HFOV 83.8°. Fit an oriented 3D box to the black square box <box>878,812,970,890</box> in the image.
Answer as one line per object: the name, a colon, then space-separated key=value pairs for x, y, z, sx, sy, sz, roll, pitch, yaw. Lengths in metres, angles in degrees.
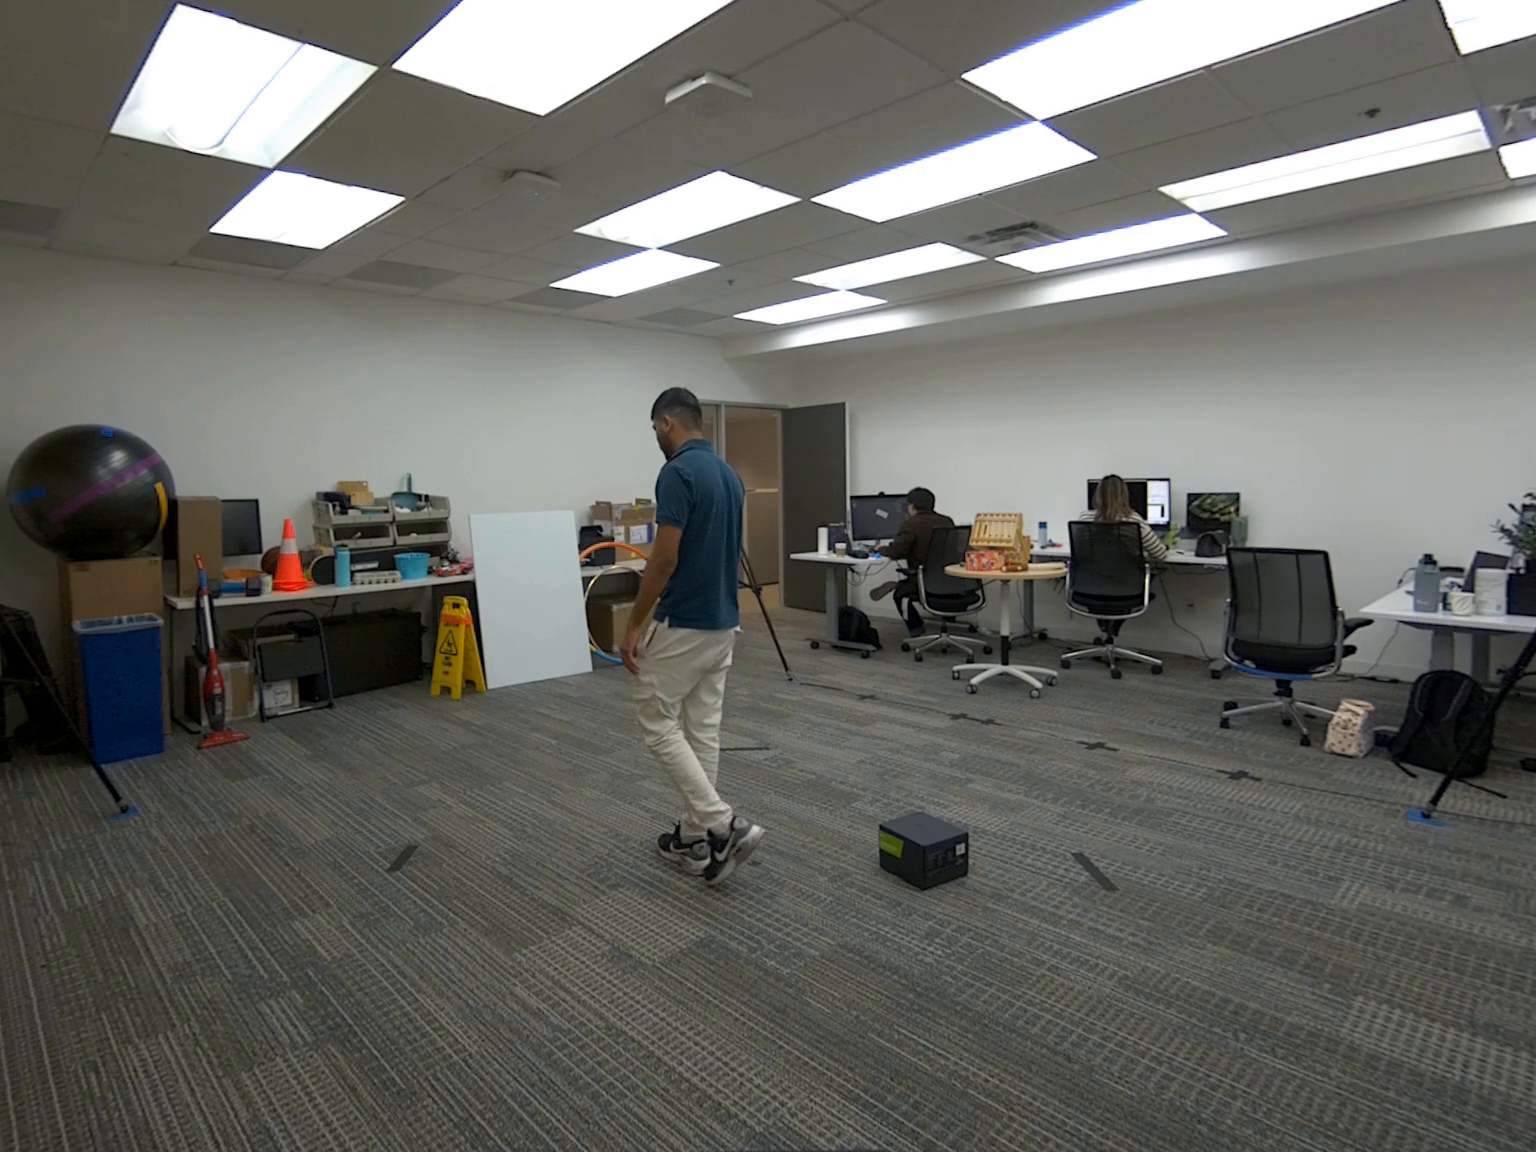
black square box: x=0.549 y=0.959 z=3.016 sx=0.211 sy=0.155 sz=0.234 roll=-4 pitch=6 yaw=-33
